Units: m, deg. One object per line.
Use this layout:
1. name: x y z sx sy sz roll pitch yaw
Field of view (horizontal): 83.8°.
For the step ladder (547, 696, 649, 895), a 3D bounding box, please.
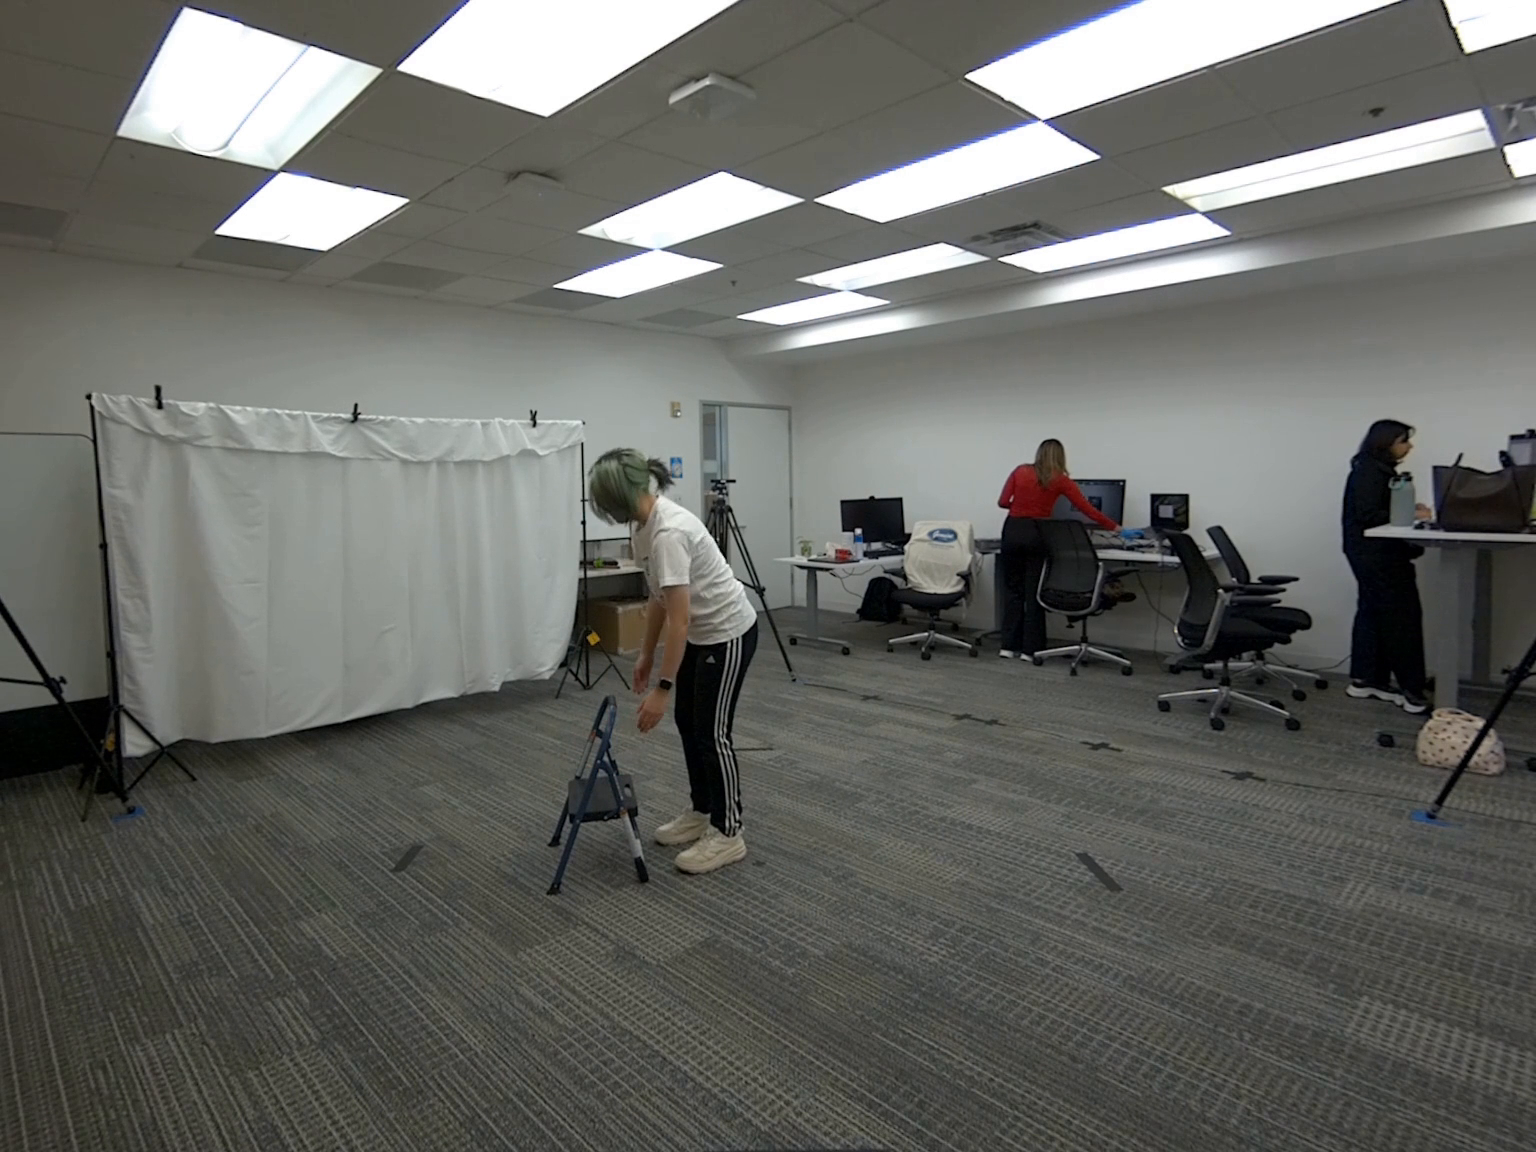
1. step ladder: -0.636 0.759 3.122 0.345 0.604 0.437 -2 4 -13
